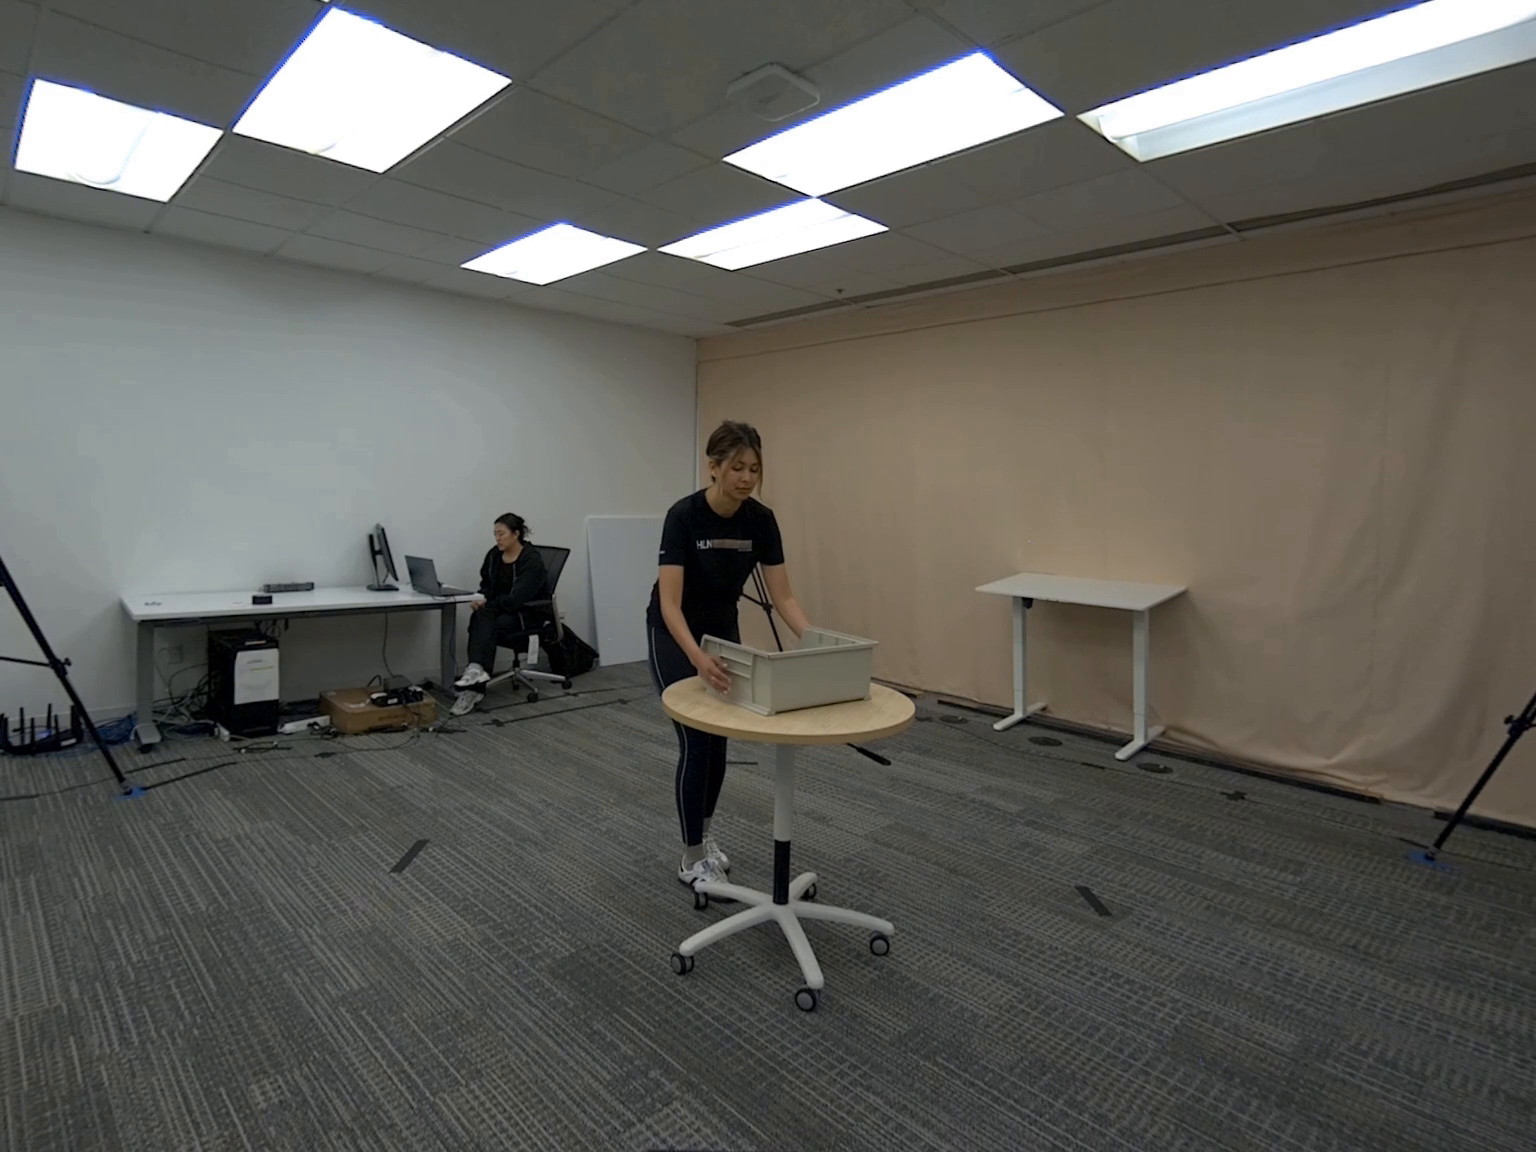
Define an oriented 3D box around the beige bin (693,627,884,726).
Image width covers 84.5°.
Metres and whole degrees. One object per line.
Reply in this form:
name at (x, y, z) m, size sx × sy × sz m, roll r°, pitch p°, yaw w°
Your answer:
beige bin at (0.057, 0.288, 2.581) m, size 0.413 × 0.188 × 0.387 m, roll -1°, pitch 7°, yaw -37°
